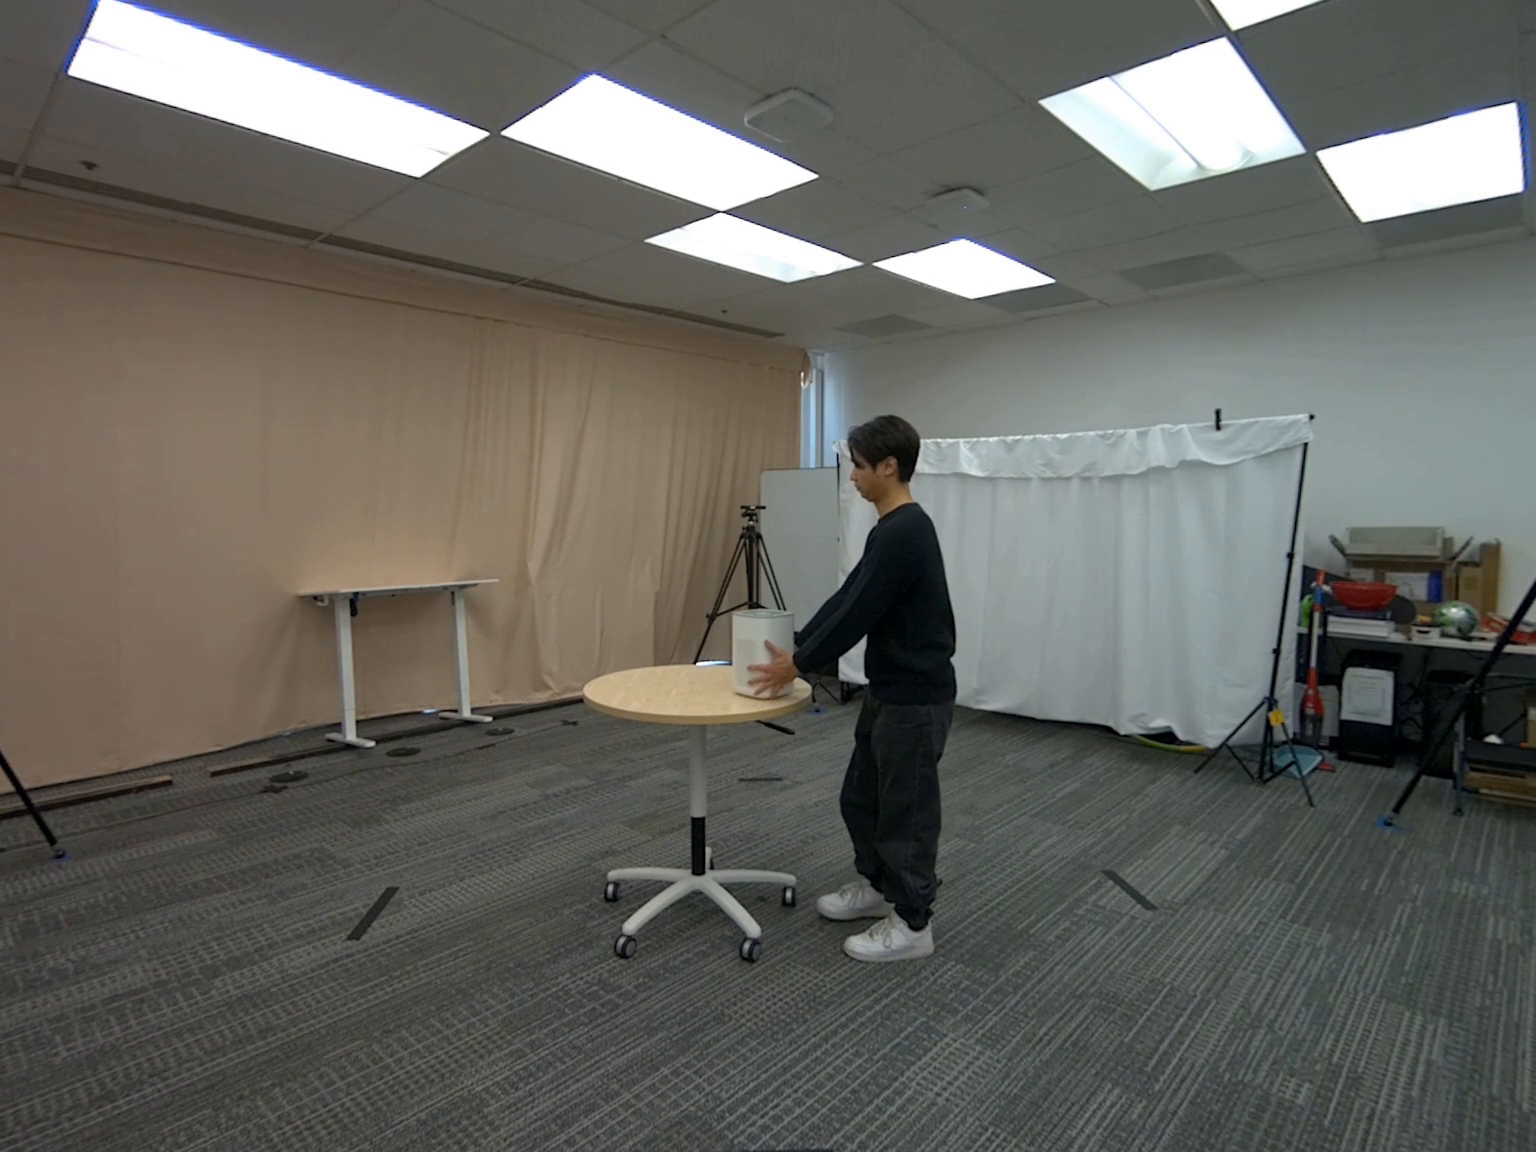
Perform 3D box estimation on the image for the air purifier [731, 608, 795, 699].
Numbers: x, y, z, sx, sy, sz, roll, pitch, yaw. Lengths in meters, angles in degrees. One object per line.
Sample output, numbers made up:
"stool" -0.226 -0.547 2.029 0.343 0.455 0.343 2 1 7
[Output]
"air purifier" -0.010 0.250 2.738 0.177 0.265 0.166 2 4 38
